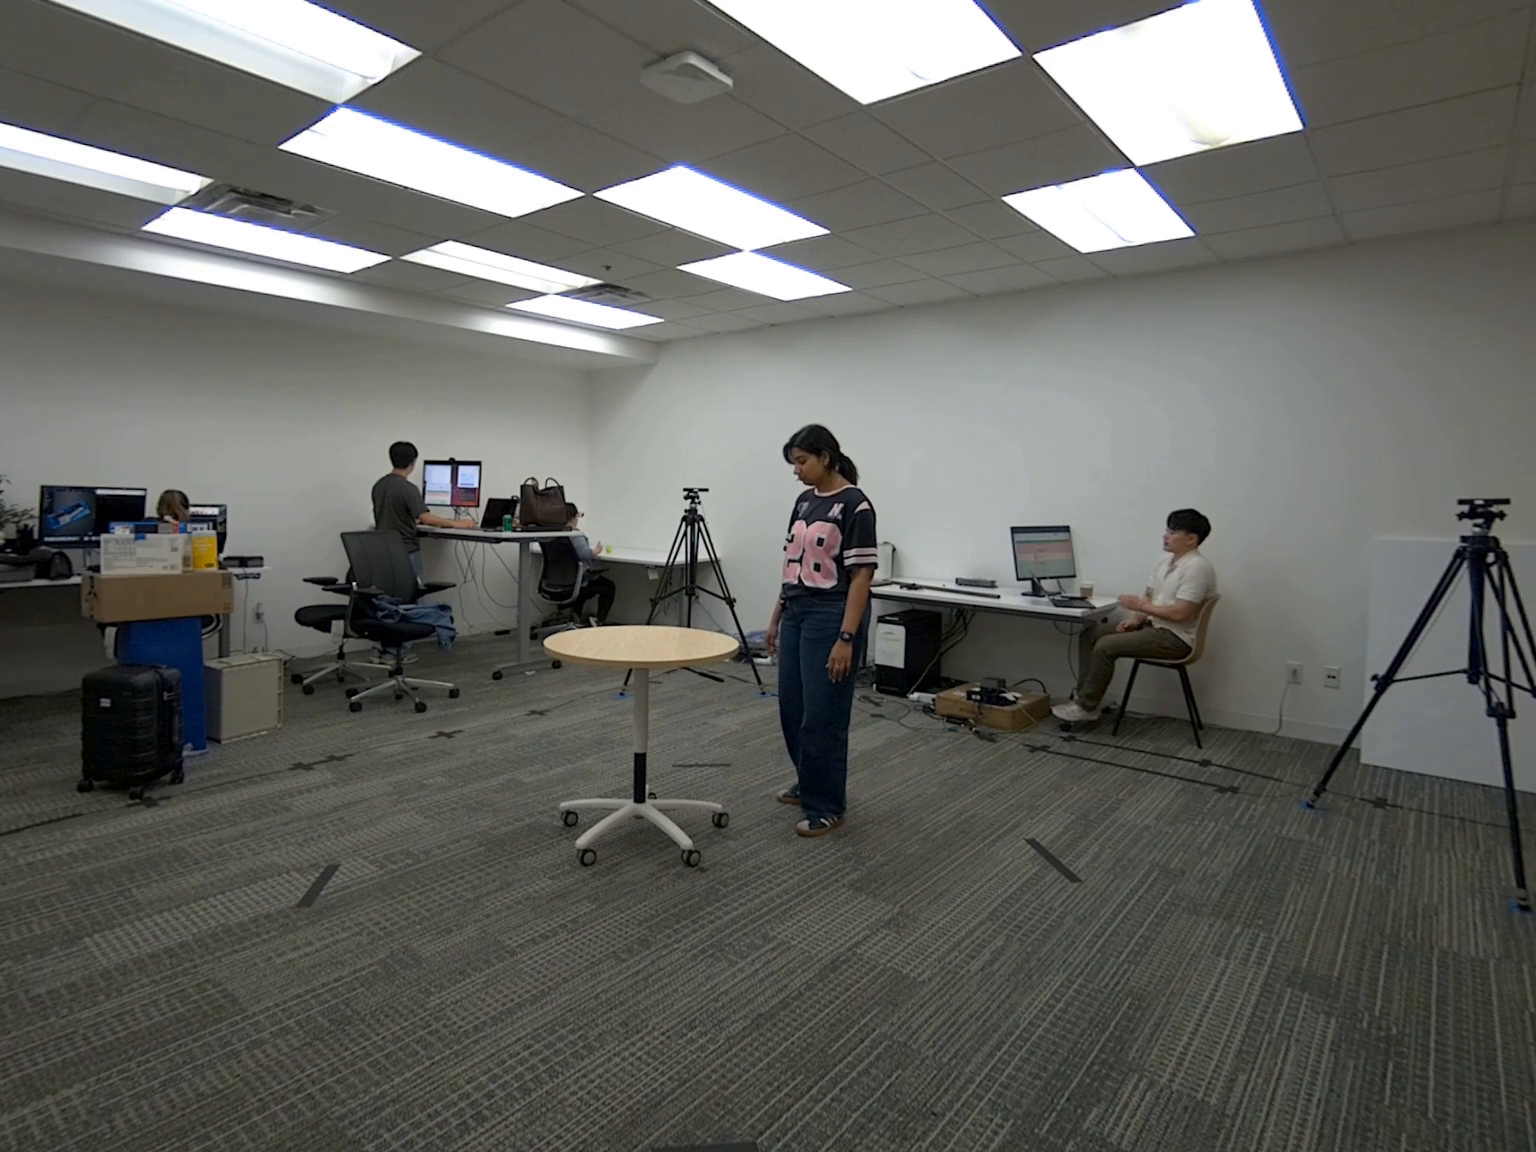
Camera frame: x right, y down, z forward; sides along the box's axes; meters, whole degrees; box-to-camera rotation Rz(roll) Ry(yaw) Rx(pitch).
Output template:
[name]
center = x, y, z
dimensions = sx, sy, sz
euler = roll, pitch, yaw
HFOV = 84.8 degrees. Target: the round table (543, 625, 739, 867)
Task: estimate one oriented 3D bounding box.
[round table]
center = -0.516, 0.649, 3.383
dimensions = 0.763, 0.791, 0.768
euler = 1, 4, -2
